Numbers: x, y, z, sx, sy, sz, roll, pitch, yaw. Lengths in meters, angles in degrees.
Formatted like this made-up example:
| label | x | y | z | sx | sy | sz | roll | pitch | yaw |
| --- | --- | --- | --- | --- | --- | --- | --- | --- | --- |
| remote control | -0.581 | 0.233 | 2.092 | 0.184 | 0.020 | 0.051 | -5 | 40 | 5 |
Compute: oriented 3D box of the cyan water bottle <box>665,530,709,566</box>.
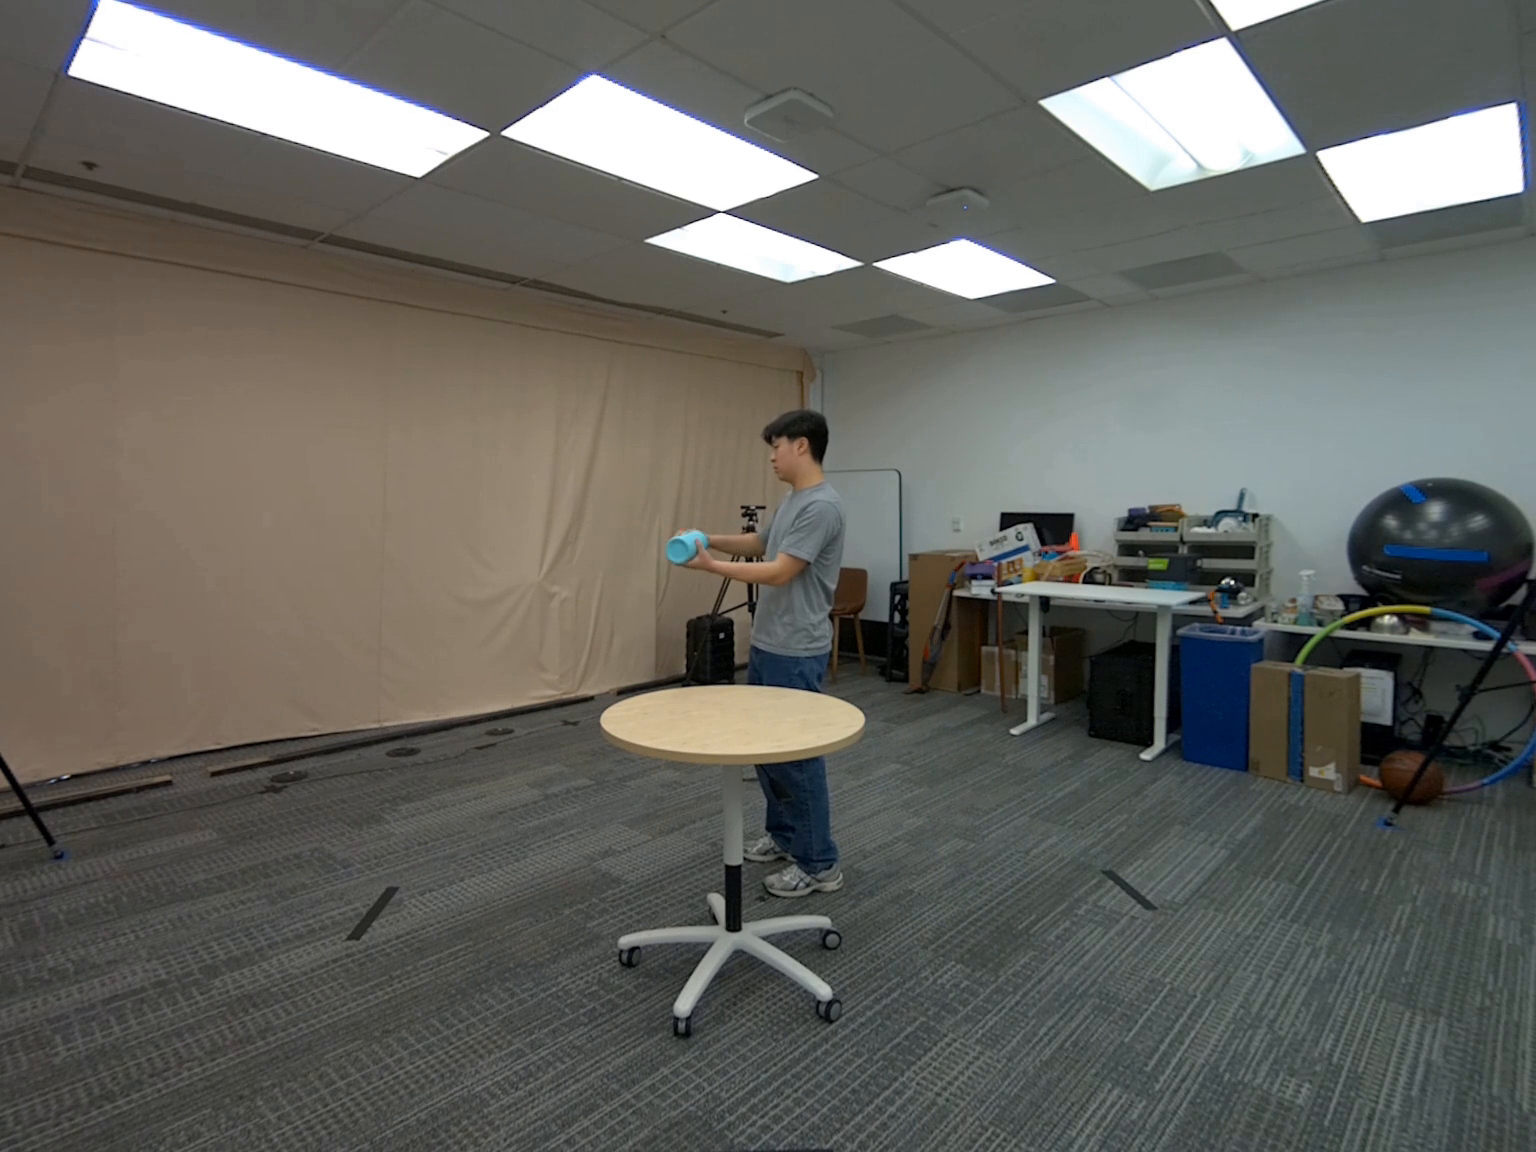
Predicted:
| label | x | y | z | sx | sy | sz | roll | pitch | yaw |
| --- | --- | --- | --- | --- | --- | --- | --- | --- | --- |
| cyan water bottle | -0.262 | -0.090 | 2.942 | 0.093 | 0.092 | 0.281 | 1 | 8 | 10 |
